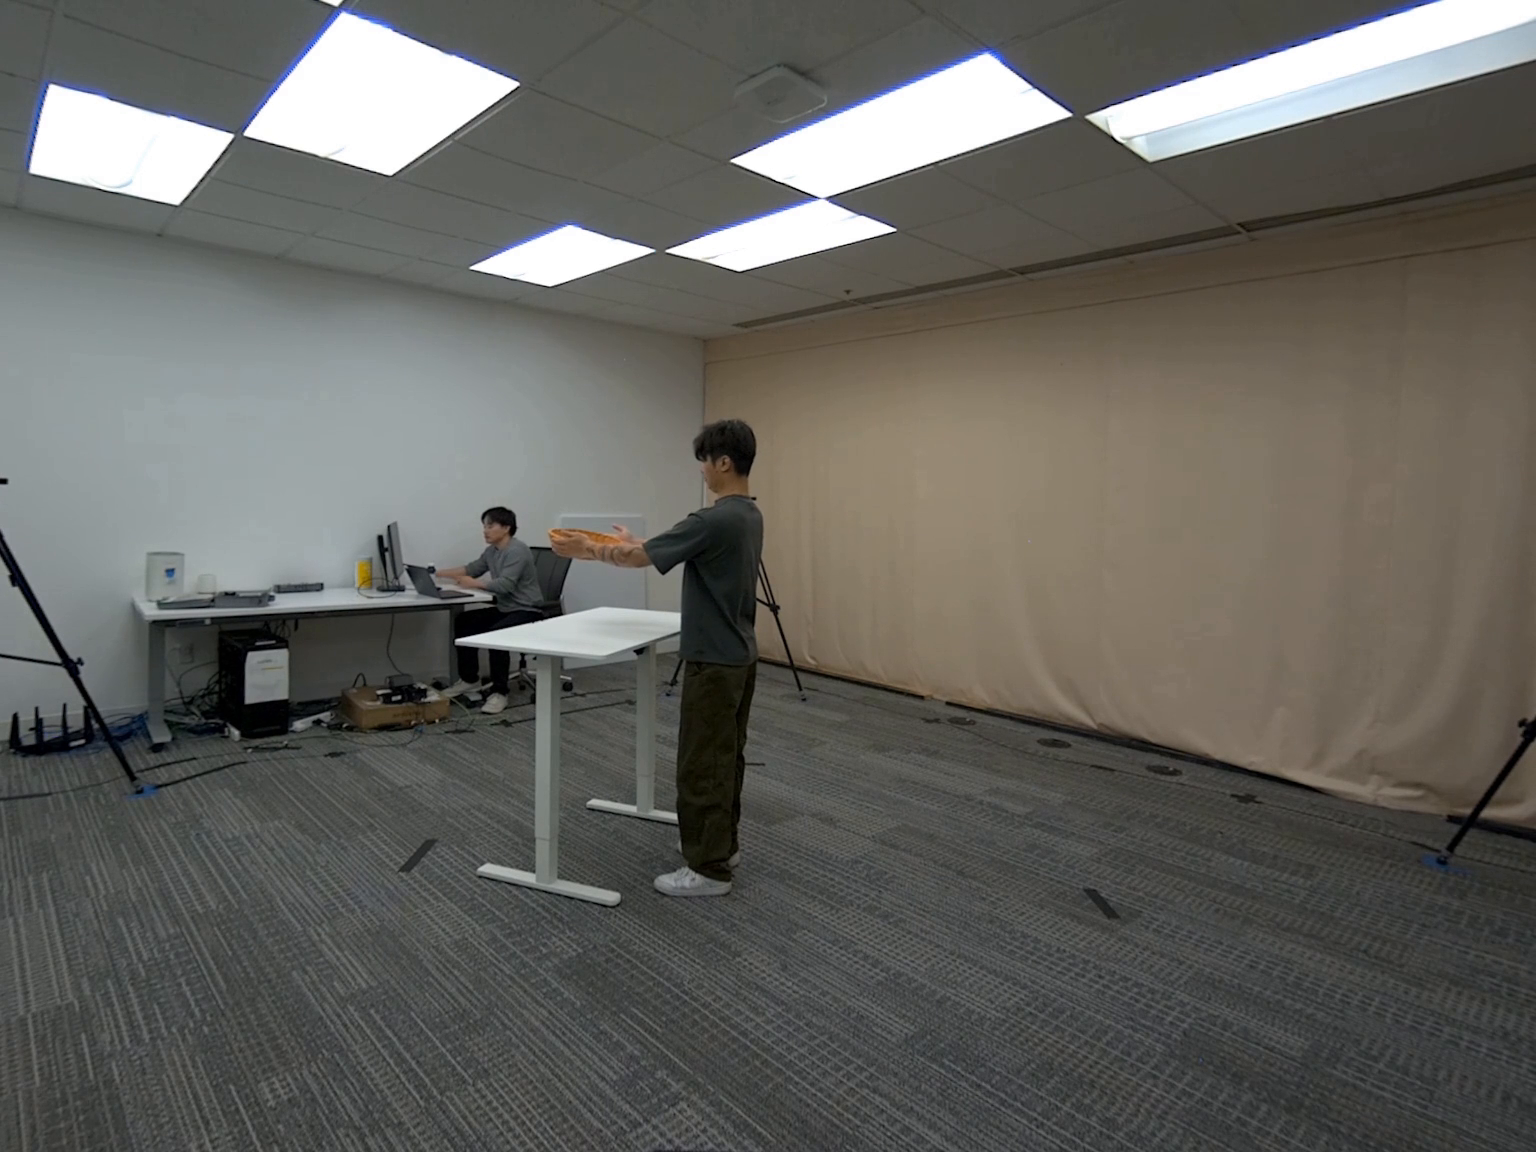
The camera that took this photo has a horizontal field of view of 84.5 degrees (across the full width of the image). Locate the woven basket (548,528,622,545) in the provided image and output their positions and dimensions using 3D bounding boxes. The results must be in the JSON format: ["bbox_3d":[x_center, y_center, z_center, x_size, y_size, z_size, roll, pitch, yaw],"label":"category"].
[{"bbox_3d":[-0.679,-0.112,3.259,0.259,0.073,0.342,18,10,33],"label":"woven basket"}]
